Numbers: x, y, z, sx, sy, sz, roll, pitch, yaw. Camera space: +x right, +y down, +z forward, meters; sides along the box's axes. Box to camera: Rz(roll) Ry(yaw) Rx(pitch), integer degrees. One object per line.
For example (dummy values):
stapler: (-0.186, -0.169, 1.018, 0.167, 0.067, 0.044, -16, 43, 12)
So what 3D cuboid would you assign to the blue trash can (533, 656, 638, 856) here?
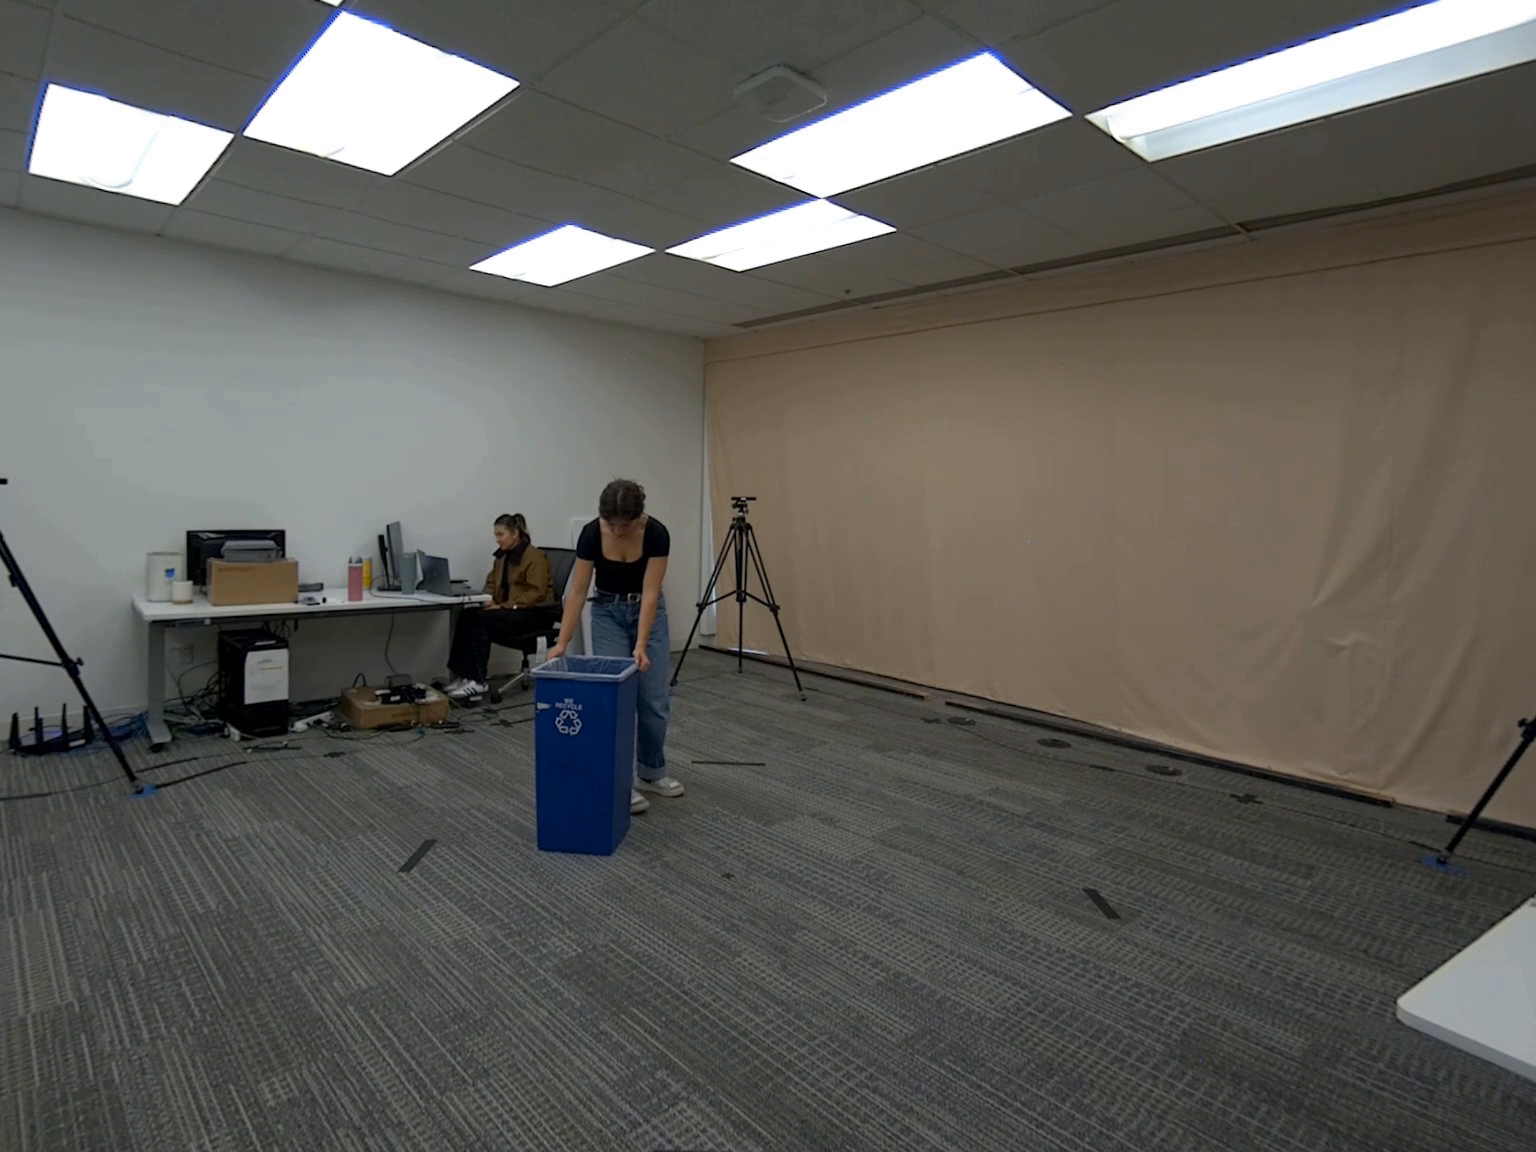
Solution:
blue trash can: (-0.744, 0.716, 3.403, 0.376, 0.712, 0.377, 1, 3, 7)
